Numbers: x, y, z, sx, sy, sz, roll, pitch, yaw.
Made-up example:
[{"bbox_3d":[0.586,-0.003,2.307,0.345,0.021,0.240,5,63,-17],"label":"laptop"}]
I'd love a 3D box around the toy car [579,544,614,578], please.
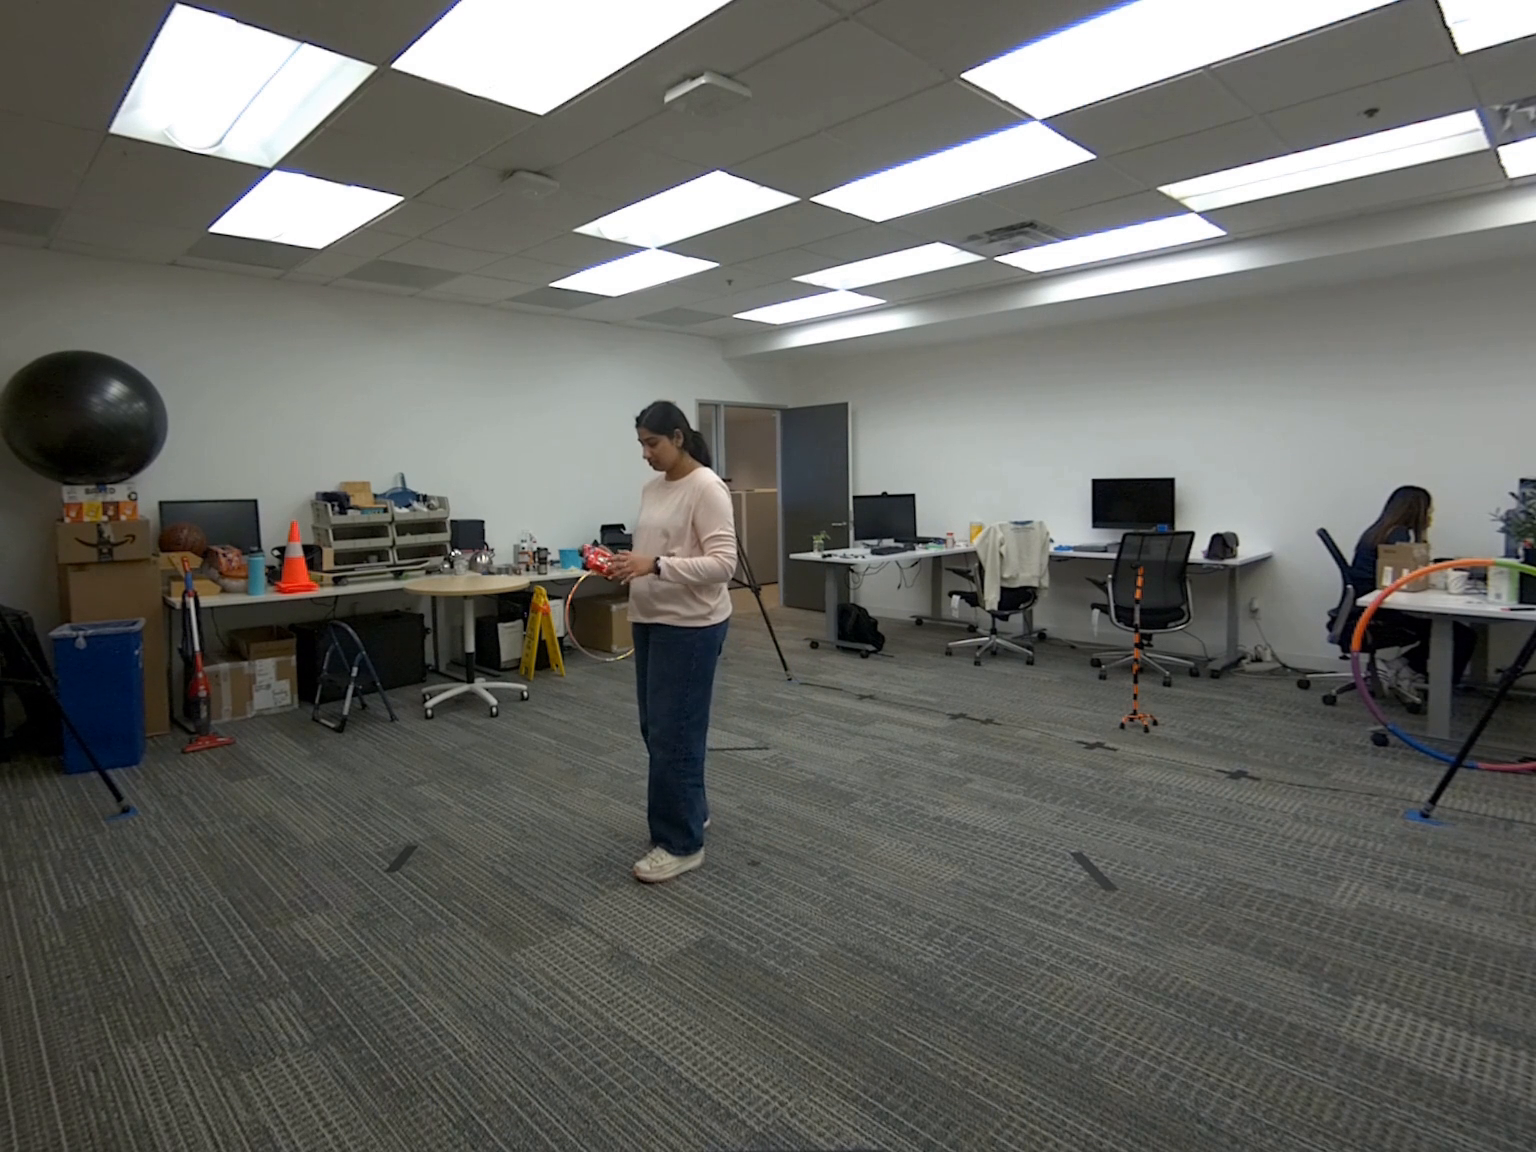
[{"bbox_3d":[-0.576,-0.052,2.971,0.127,0.083,0.262,21,1,-26],"label":"toy car"}]
